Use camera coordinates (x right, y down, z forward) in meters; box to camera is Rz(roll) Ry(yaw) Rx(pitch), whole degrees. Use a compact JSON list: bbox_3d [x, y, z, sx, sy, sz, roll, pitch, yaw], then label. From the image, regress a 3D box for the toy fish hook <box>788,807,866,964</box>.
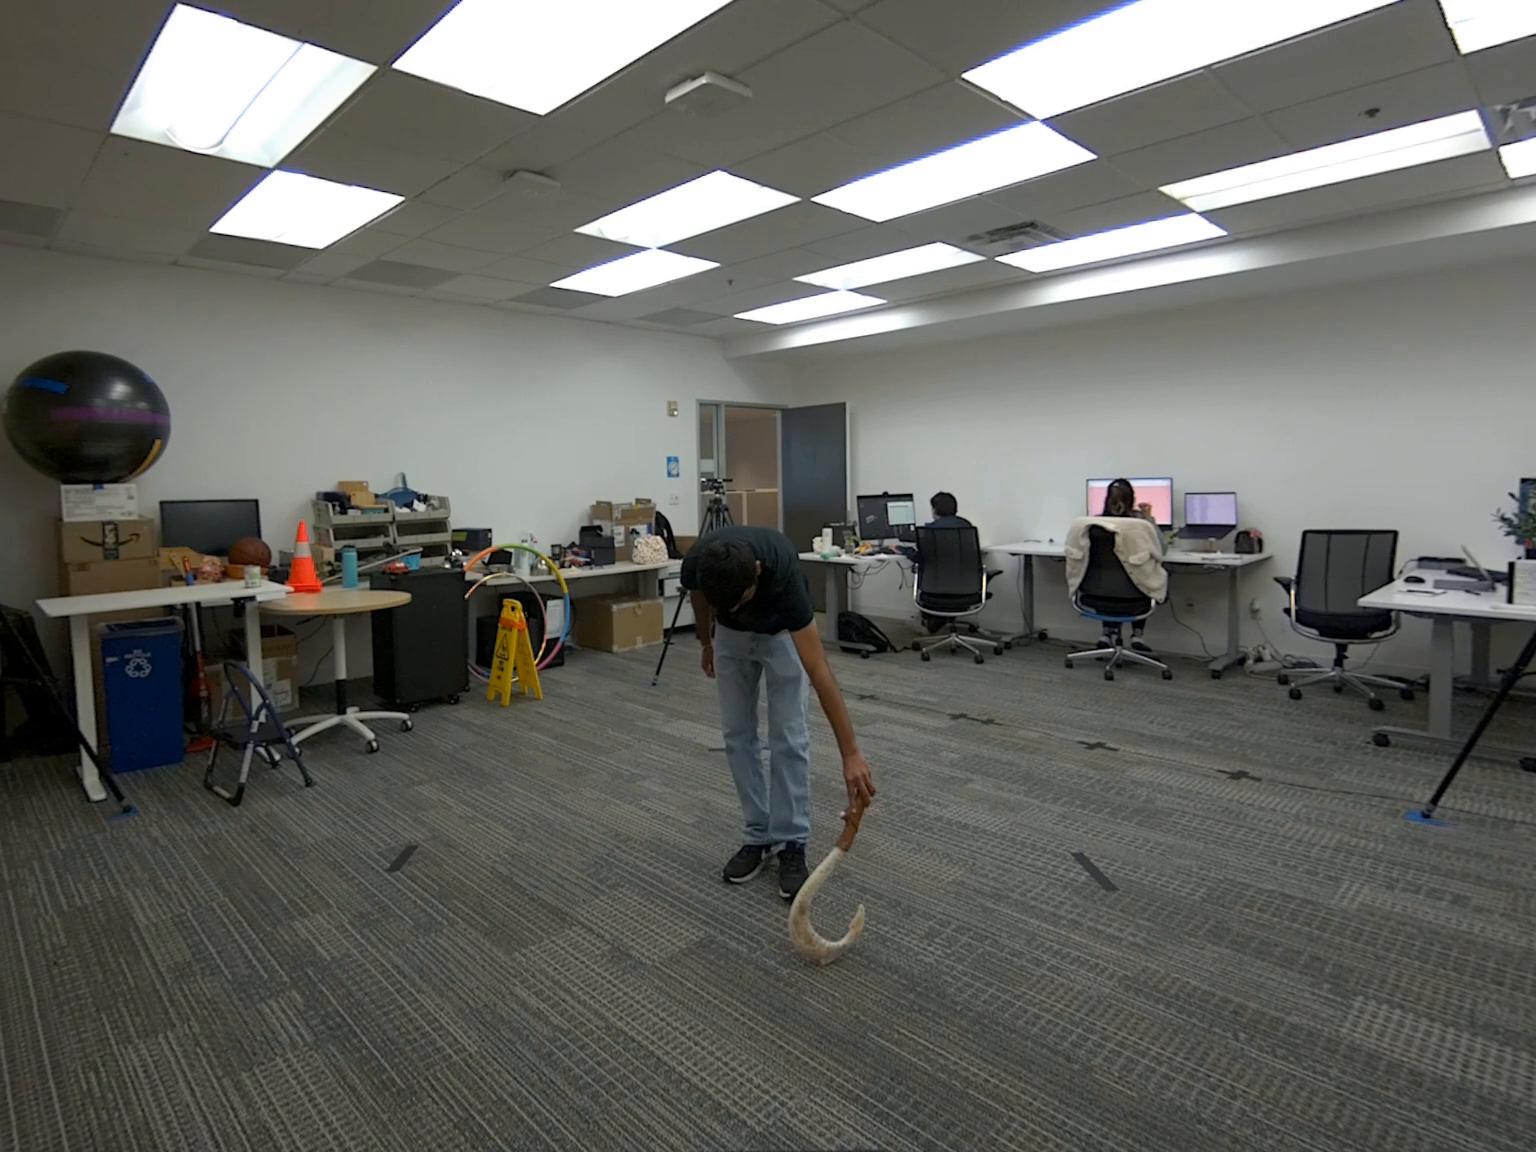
[{"bbox_3d":[0.232,0.884,2.527,0.221,0.510,0.049,30,-18,-12],"label":"toy fish hook"}]
